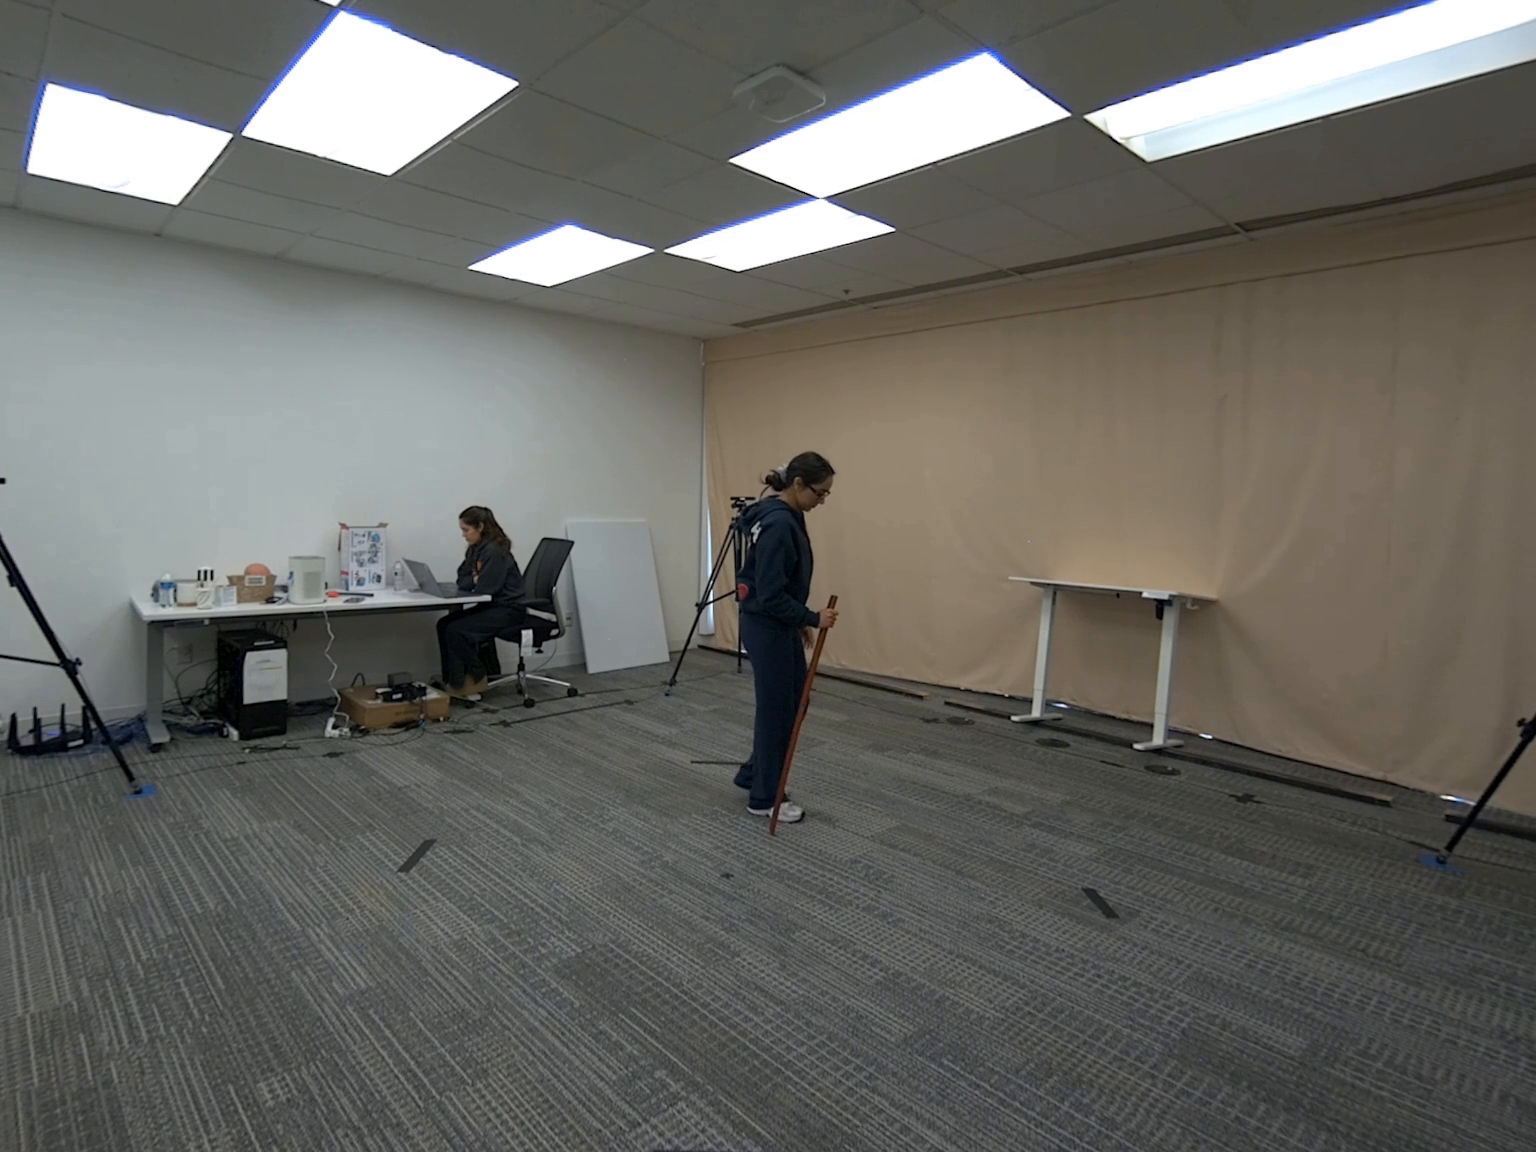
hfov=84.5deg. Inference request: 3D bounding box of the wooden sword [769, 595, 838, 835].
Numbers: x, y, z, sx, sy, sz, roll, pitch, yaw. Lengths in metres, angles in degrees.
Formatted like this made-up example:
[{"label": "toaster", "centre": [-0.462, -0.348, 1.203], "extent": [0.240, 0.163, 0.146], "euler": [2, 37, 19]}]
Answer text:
[{"label": "wooden sword", "centre": [0.132, 0.587, 3.530], "extent": [0.052, 1.026, 0.023], "euler": [16, -3, 18]}]
